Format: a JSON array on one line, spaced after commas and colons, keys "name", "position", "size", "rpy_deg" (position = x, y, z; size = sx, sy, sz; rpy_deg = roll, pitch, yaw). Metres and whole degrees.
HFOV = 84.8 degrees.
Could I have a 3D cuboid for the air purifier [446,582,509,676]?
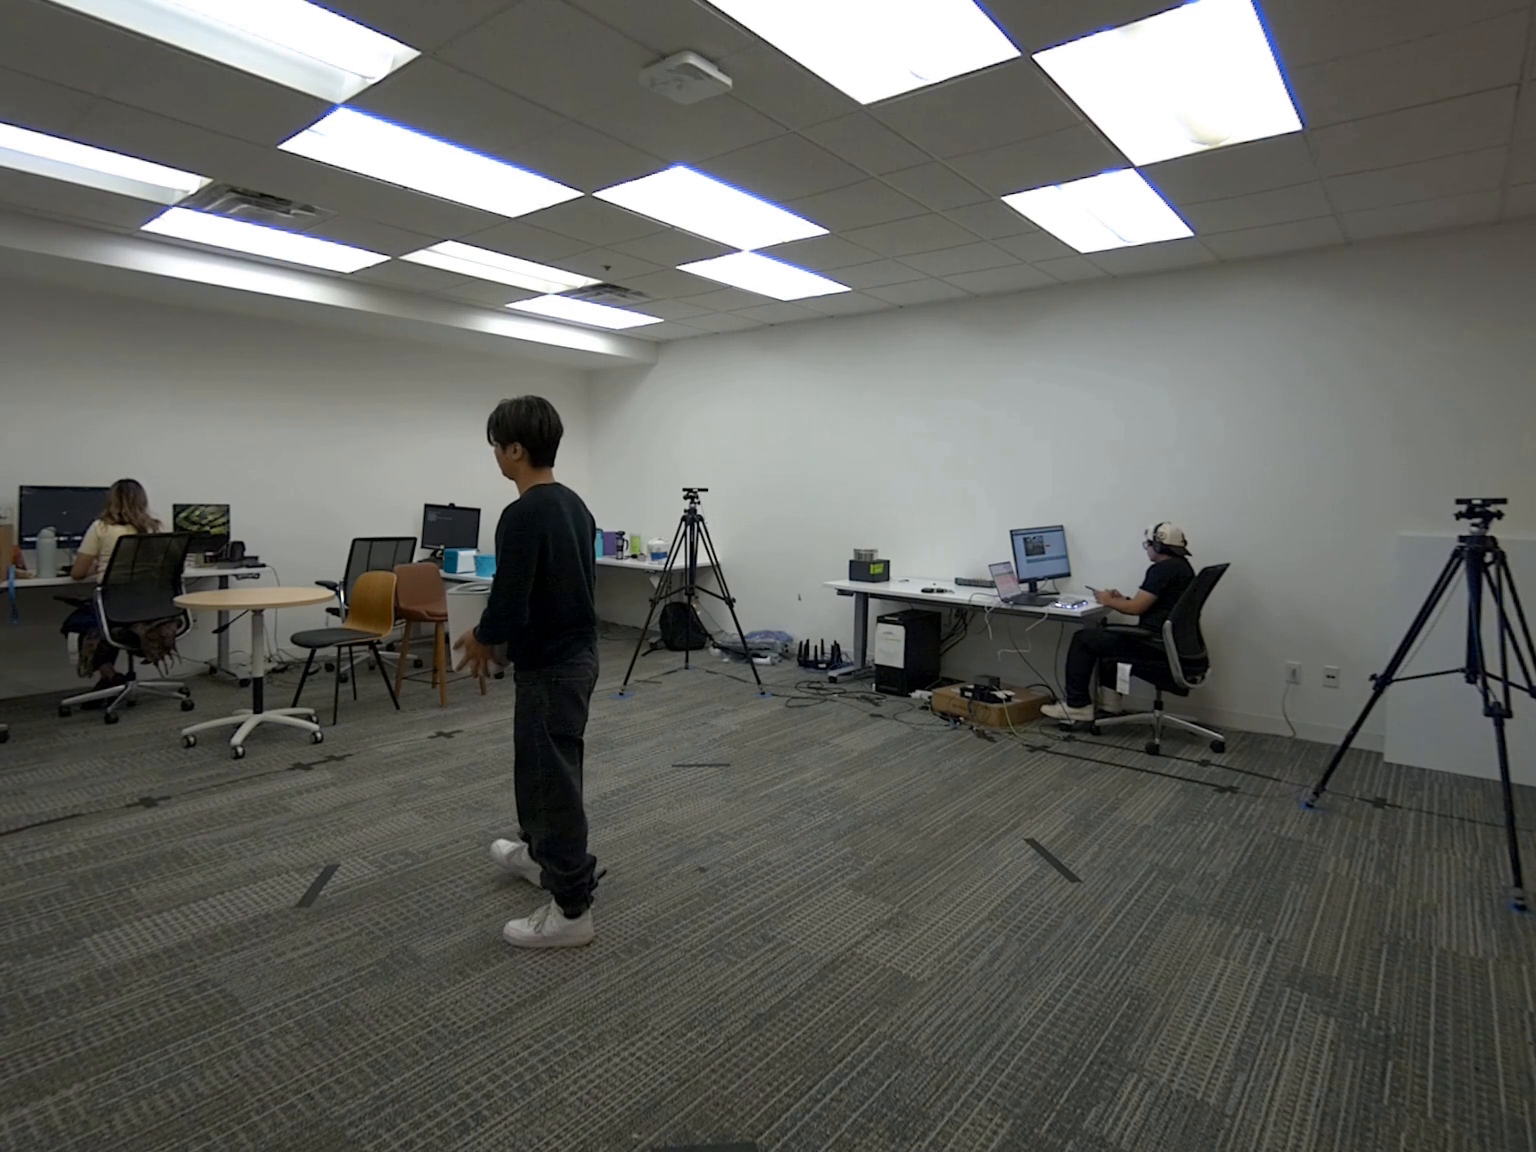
[{"name": "air purifier", "position": [-0.966, 0.171, 2.729], "size": [0.168, 0.264, 0.176], "rpy_deg": [-3, 5, -20]}]
